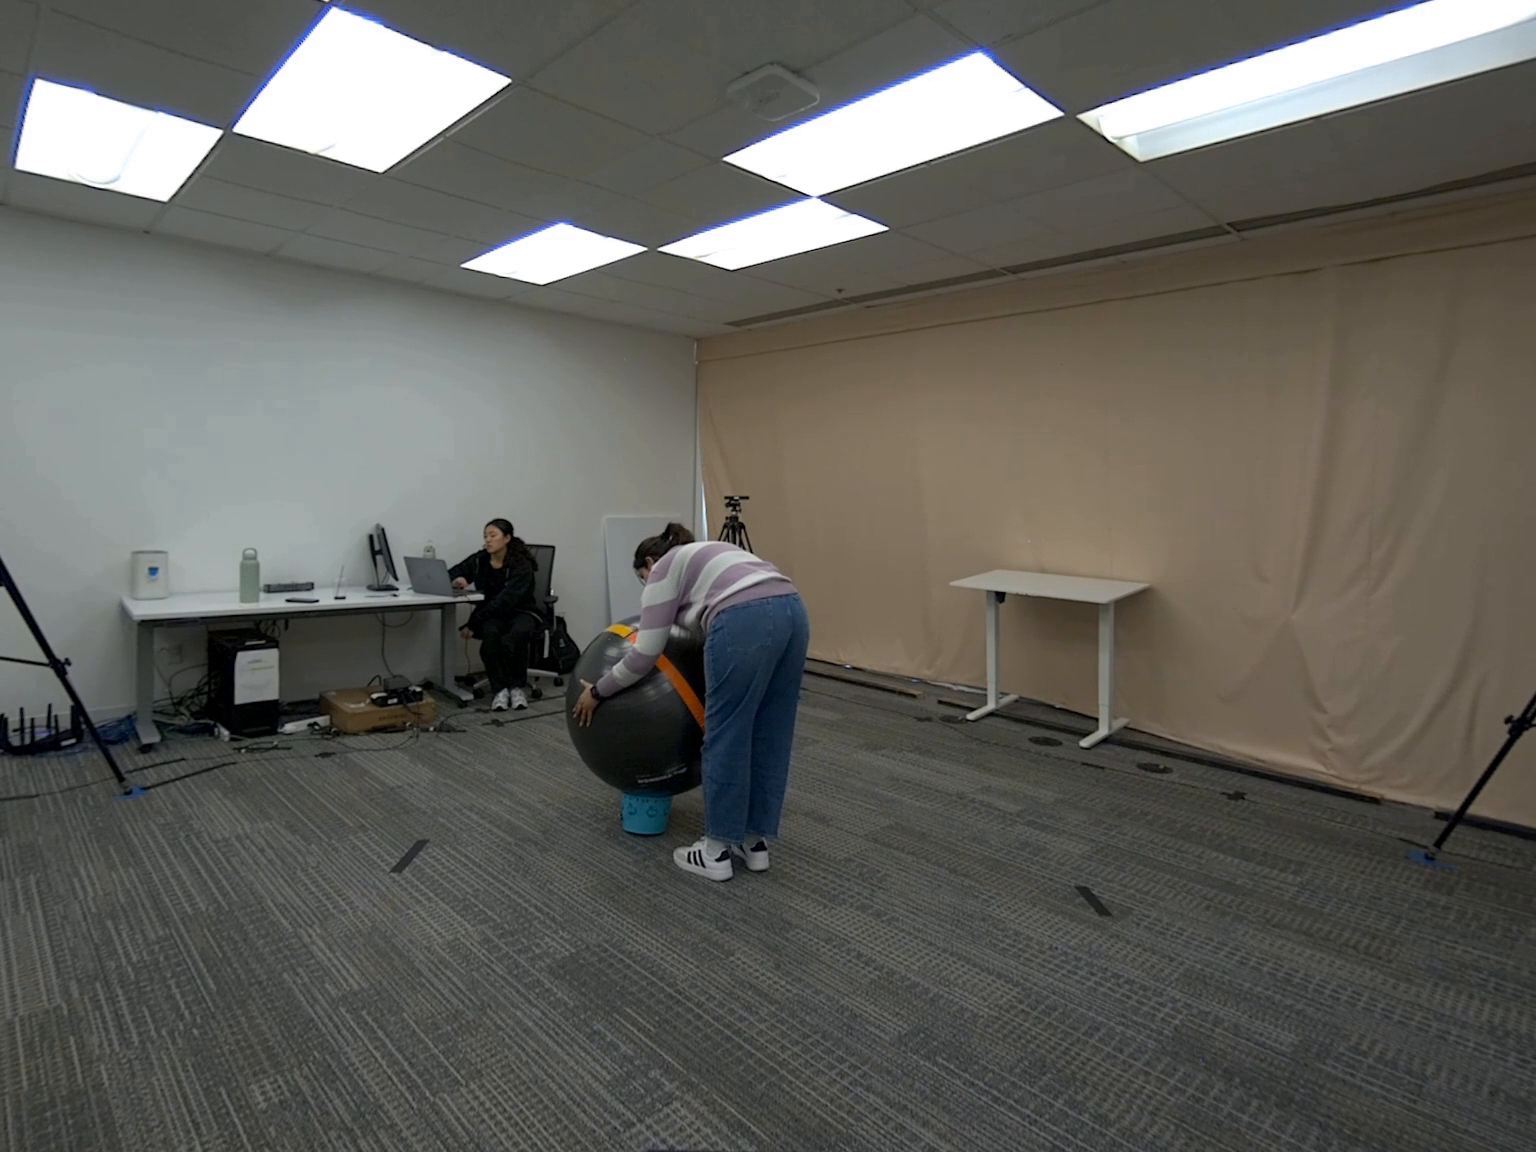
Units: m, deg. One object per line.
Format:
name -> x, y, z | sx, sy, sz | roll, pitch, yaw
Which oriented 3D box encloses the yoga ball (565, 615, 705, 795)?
yoga ball -> -0.479, 0.545, 3.558 | 0.757, 0.756, 0.761 | 1, 4, -1
